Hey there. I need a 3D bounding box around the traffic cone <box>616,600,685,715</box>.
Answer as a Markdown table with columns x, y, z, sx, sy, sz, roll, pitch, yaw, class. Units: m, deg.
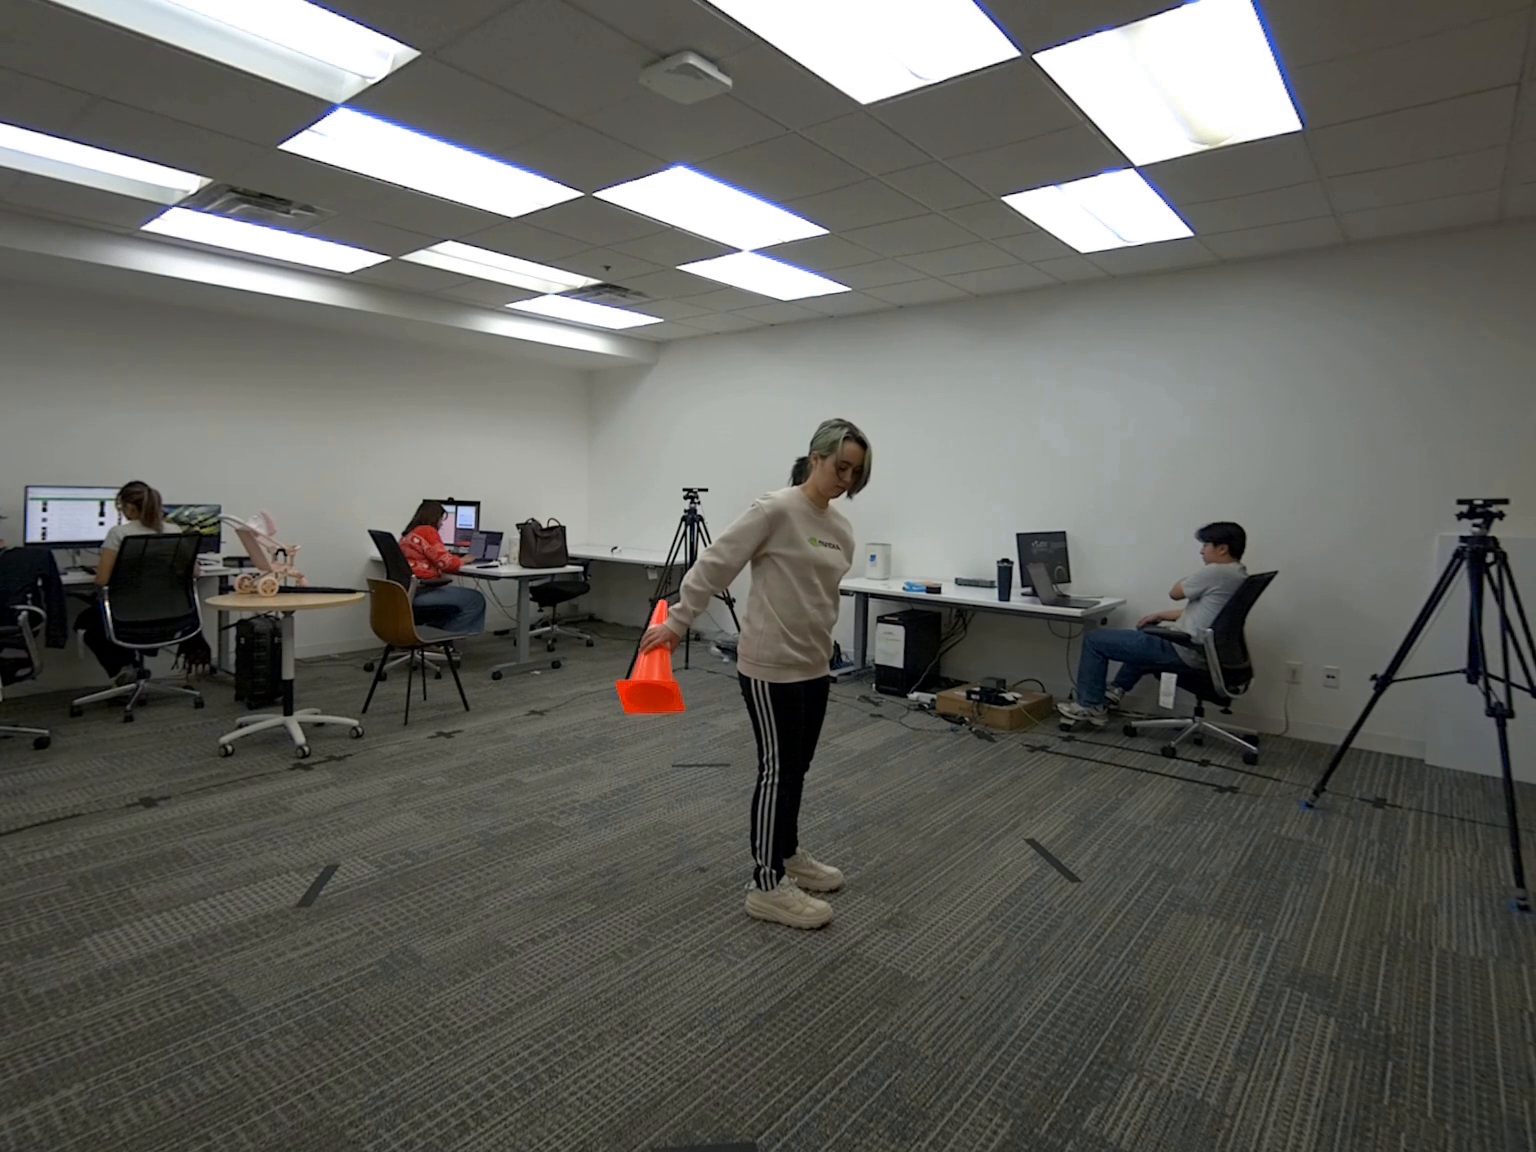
| x | y | z | sx | sy | sz | roll | pitch | yaw | class |
| --- | --- | --- | --- | --- | --- | --- | --- | --- | --- |
| -0.379 | 0.237 | 2.809 | 0.206 | 0.394 | 0.196 | -4 | -42 | 5 | traffic cone |
